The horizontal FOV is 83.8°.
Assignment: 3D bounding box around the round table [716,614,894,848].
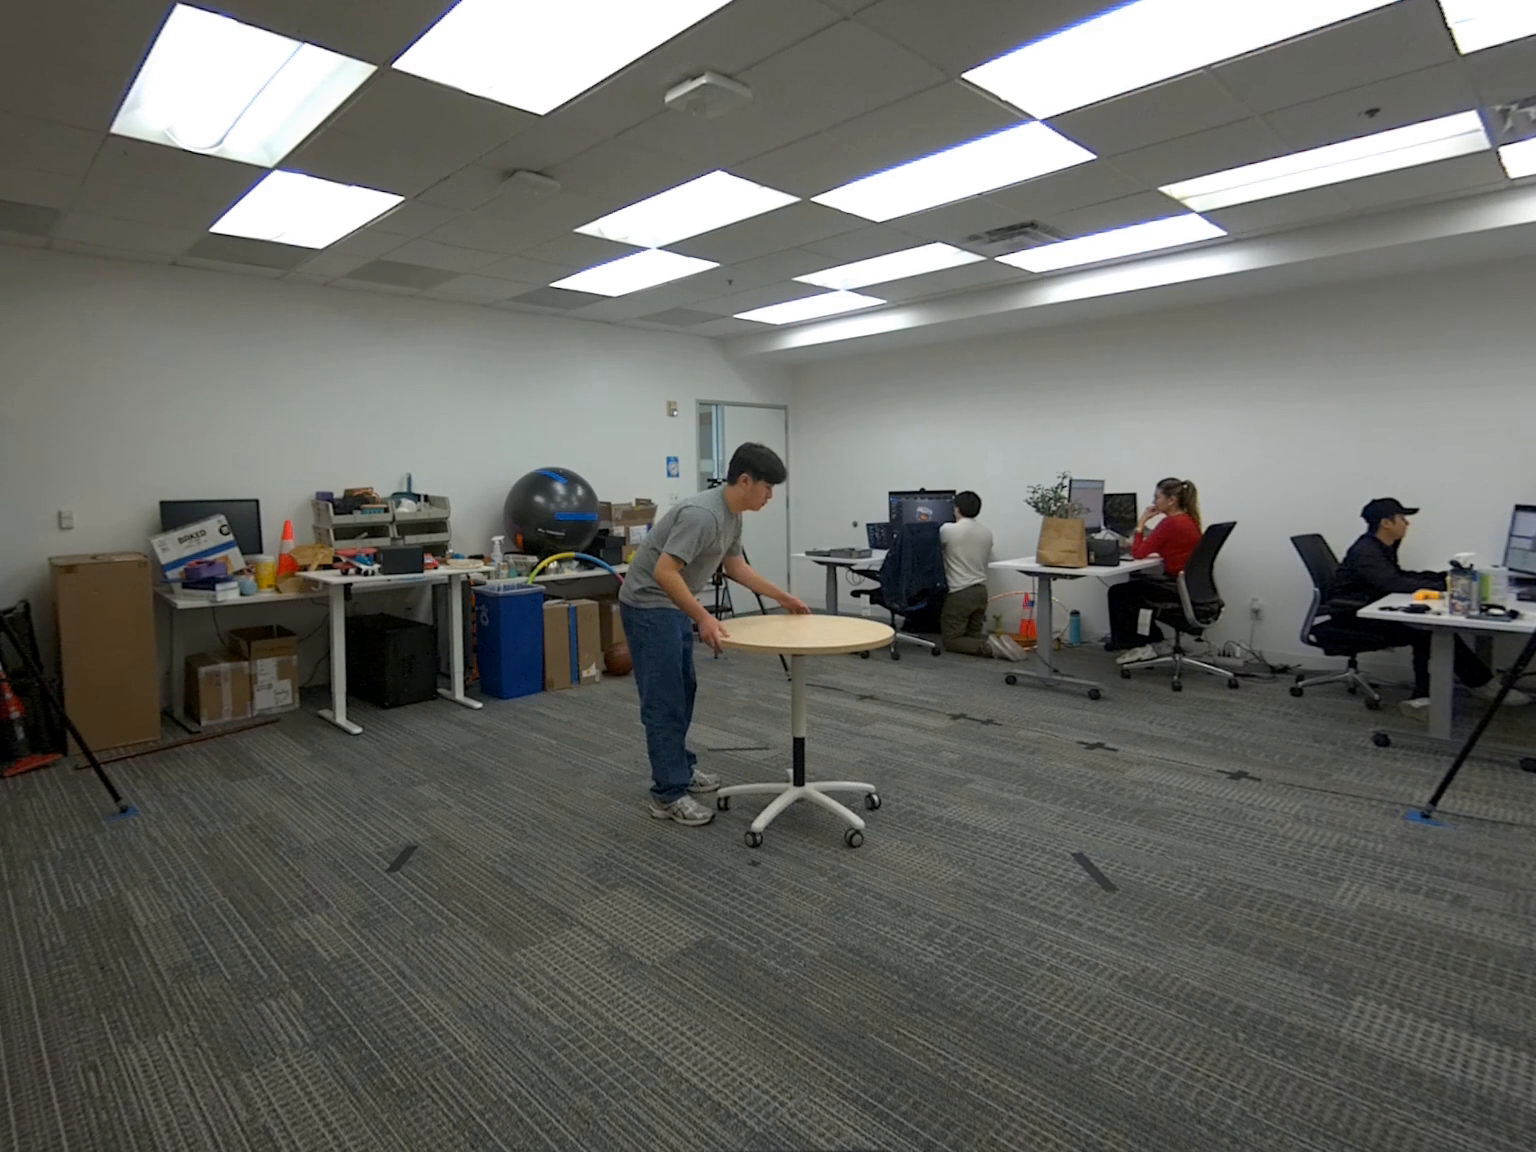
[{"bbox_3d":[0.129,0.608,3.486,0.763,0.791,0.768,-1,5,-2],"label":"round table"}]
